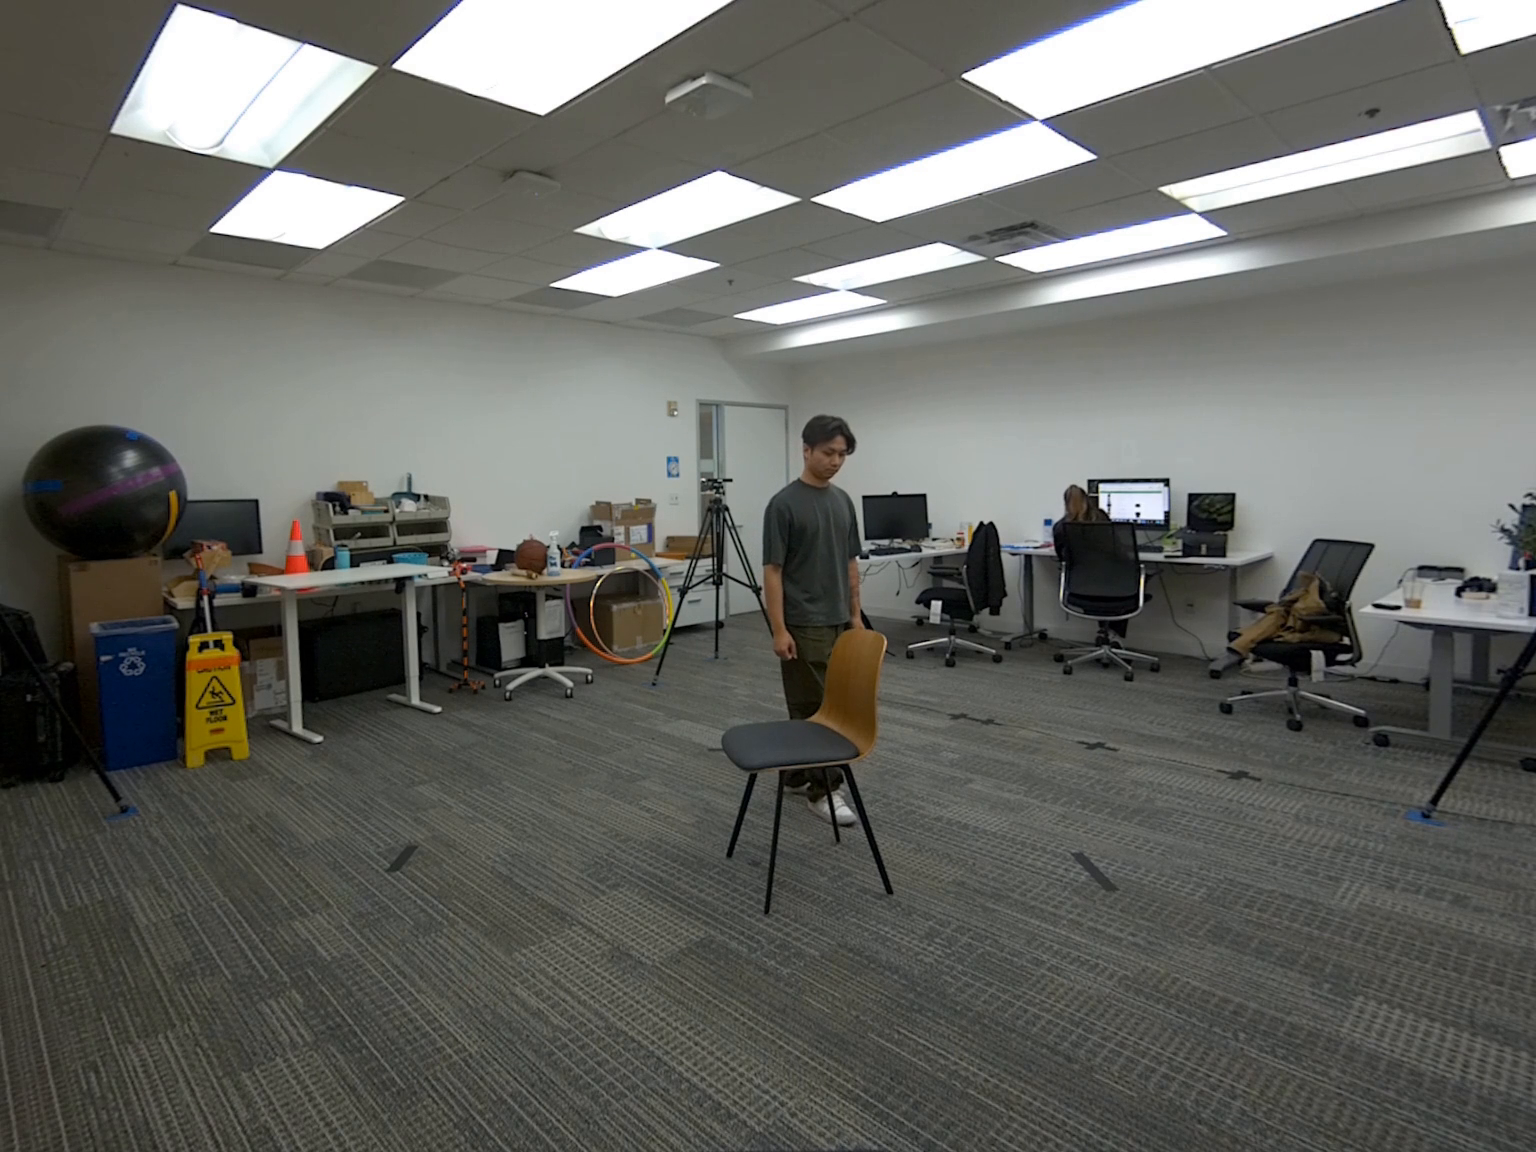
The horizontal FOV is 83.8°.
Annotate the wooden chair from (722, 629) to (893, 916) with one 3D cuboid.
[{"bbox_3d":[0.120,0.631,2.974,0.514,0.875,0.487,2,3,-18],"label":"wooden chair"}]
